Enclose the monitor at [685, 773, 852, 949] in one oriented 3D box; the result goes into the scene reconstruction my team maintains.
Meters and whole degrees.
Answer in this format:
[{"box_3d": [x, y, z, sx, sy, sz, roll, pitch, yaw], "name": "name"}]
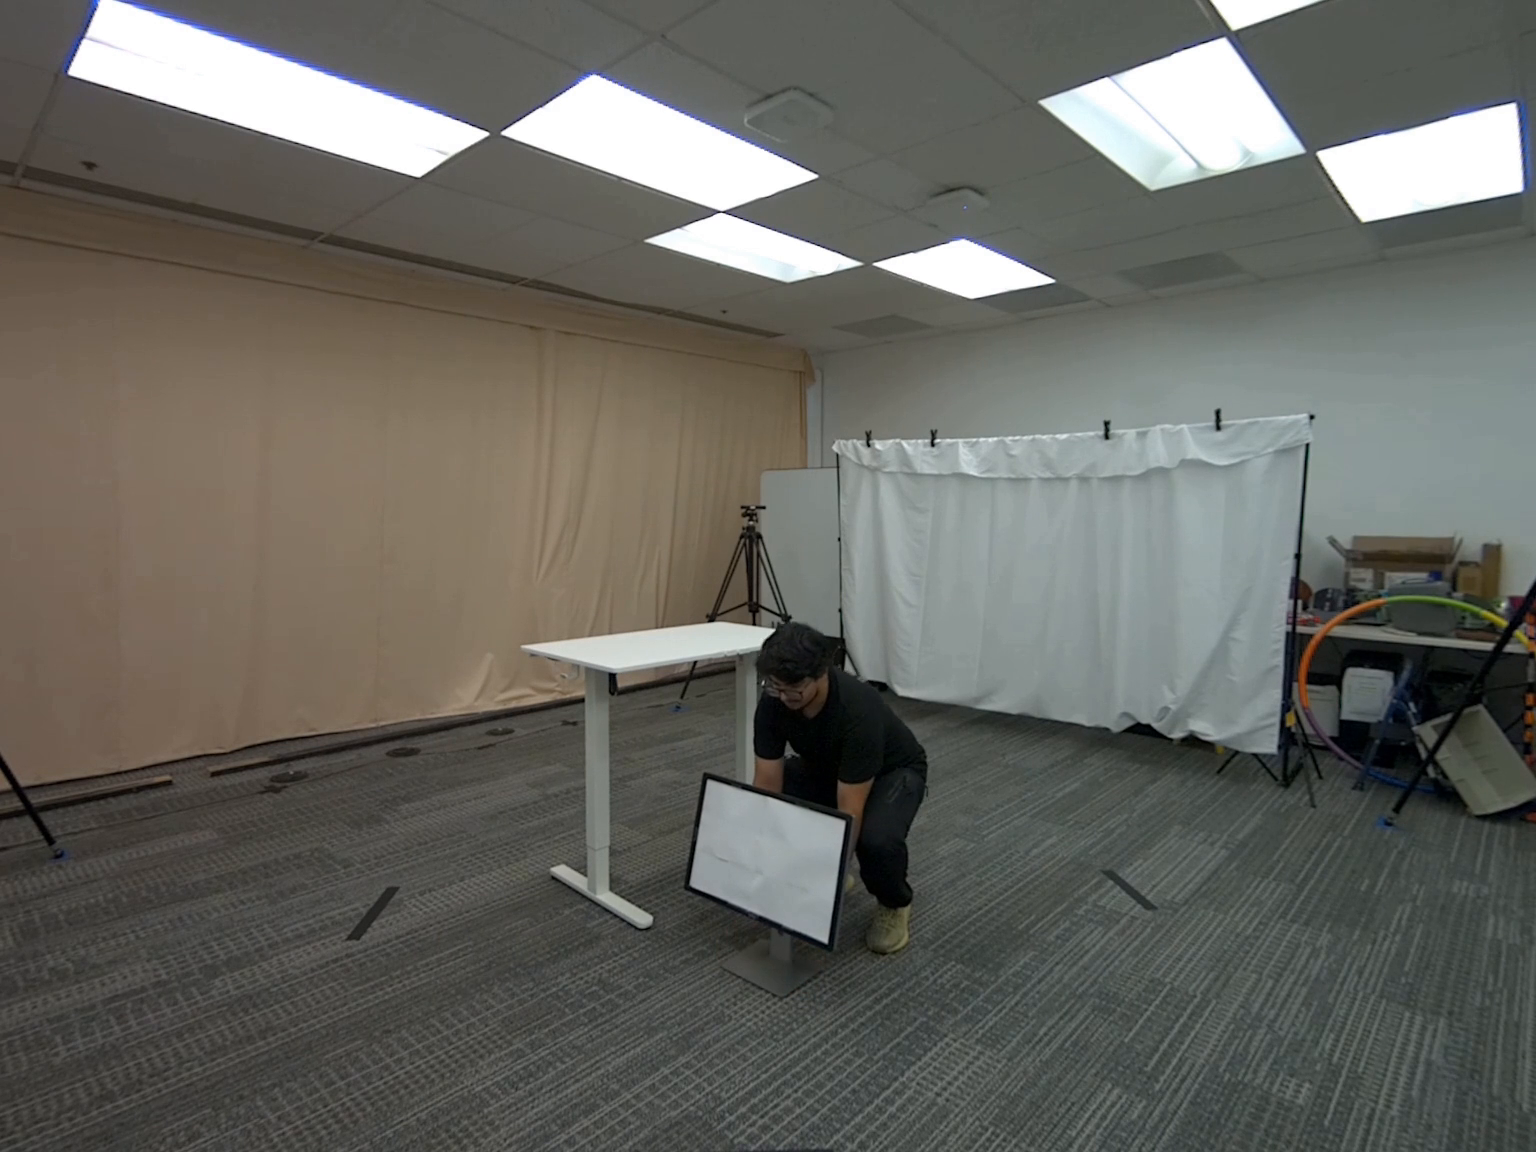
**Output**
[{"box_3d": [0.028, 0.913, 2.542, 0.584, 0.554, 0.203, 3, -1, 41], "name": "monitor"}]
